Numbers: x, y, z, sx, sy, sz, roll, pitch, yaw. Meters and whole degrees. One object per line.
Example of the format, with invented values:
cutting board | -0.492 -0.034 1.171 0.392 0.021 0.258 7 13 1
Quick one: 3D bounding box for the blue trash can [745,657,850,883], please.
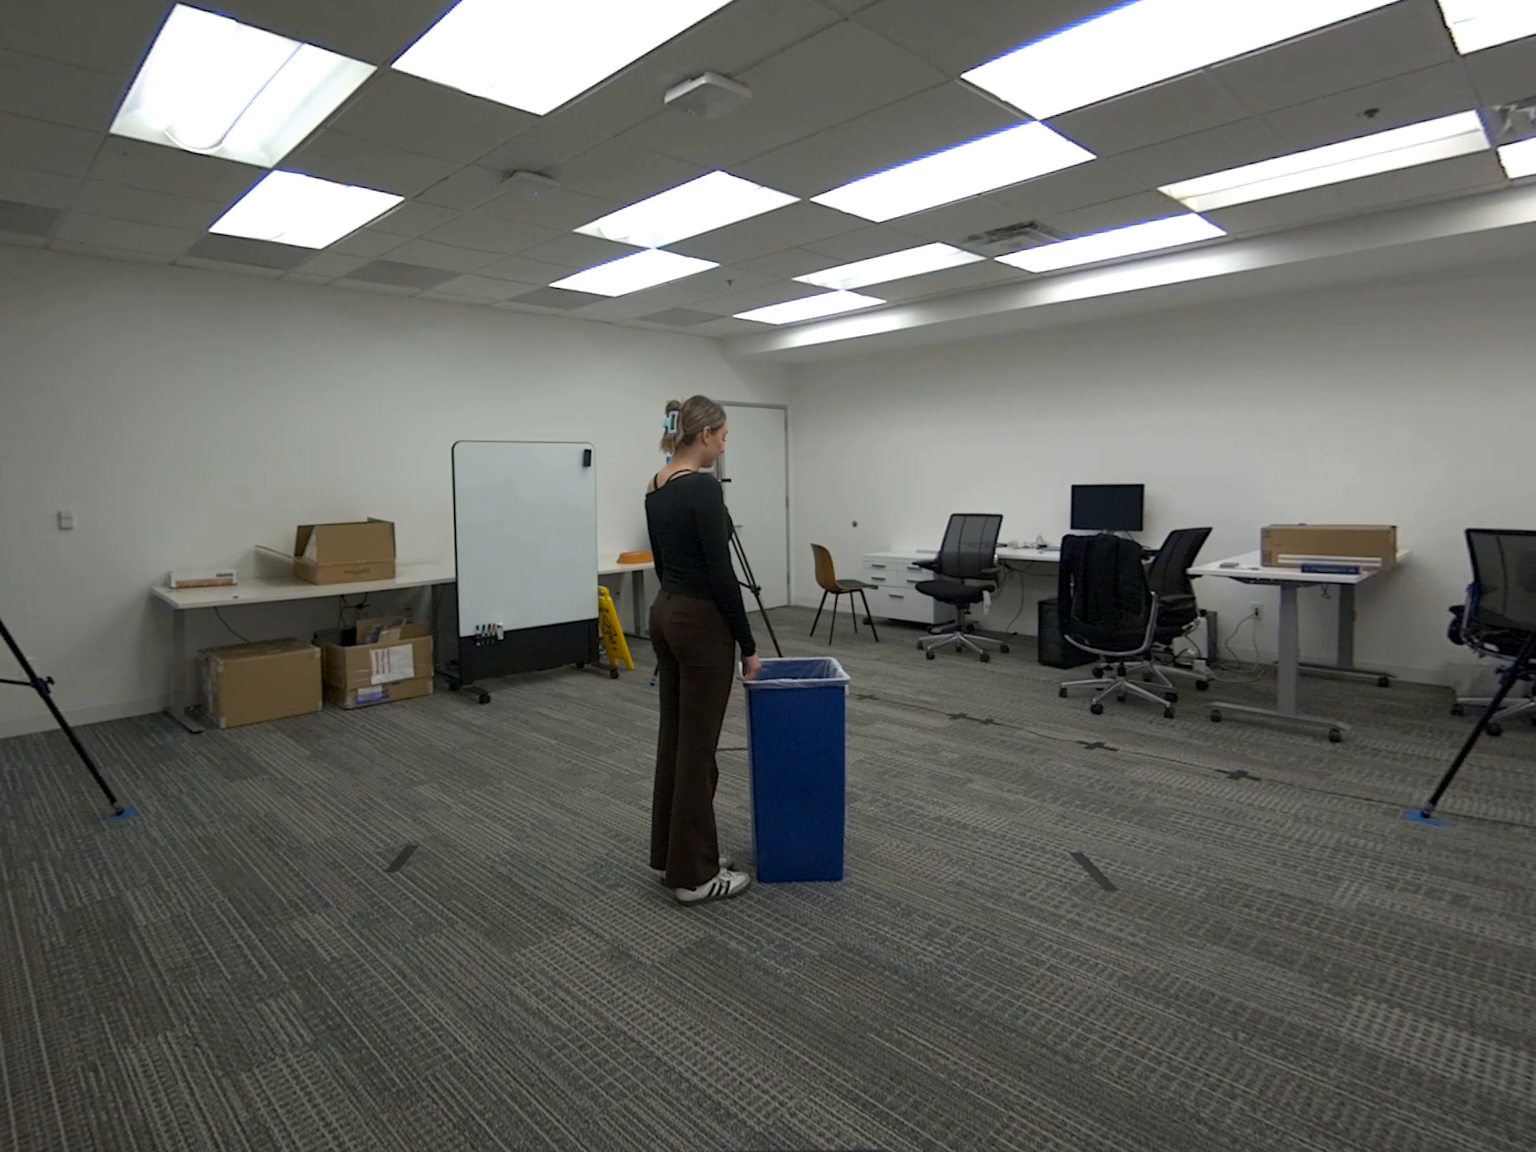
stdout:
blue trash can | 0.090 0.686 3.082 0.373 0.711 0.380 -1 4 -2
